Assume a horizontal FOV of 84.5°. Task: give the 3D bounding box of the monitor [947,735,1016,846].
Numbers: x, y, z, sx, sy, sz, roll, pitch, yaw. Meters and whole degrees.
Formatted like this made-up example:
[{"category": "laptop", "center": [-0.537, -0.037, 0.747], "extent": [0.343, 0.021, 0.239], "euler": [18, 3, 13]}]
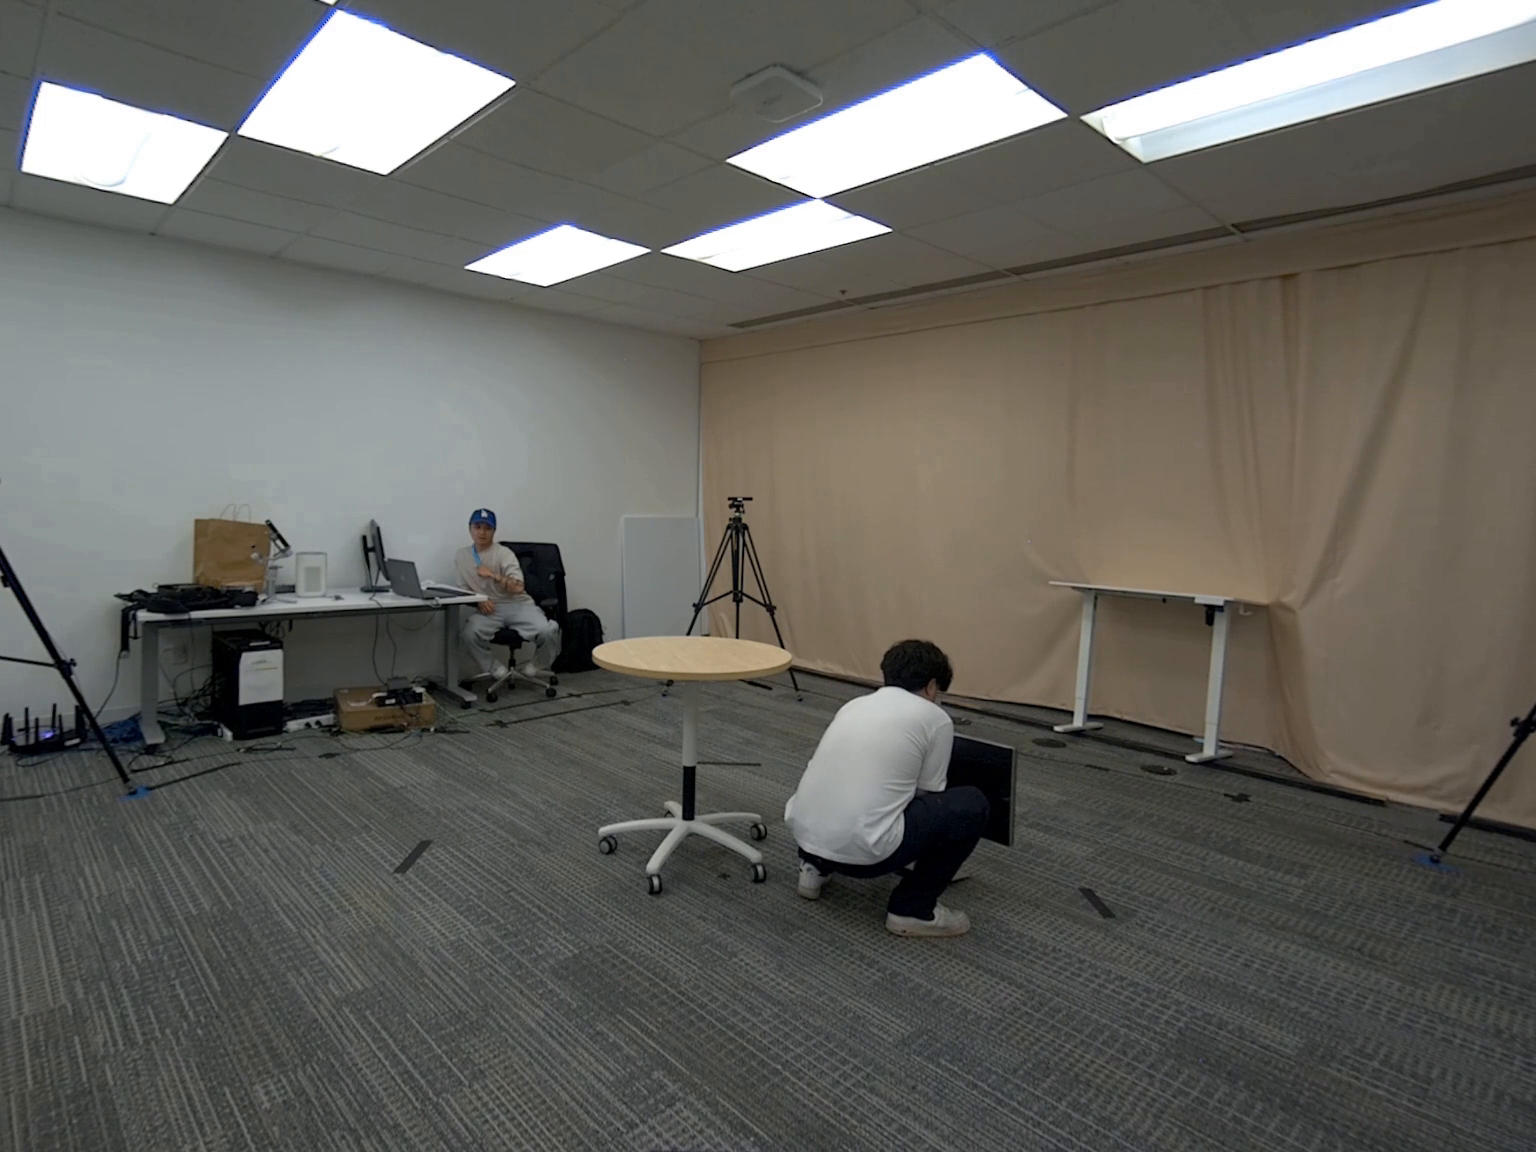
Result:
[{"category": "monitor", "center": [0.615, 0.857, 3.168], "extent": [0.580, 0.554, 0.205], "euler": [6, 1, 45]}]
